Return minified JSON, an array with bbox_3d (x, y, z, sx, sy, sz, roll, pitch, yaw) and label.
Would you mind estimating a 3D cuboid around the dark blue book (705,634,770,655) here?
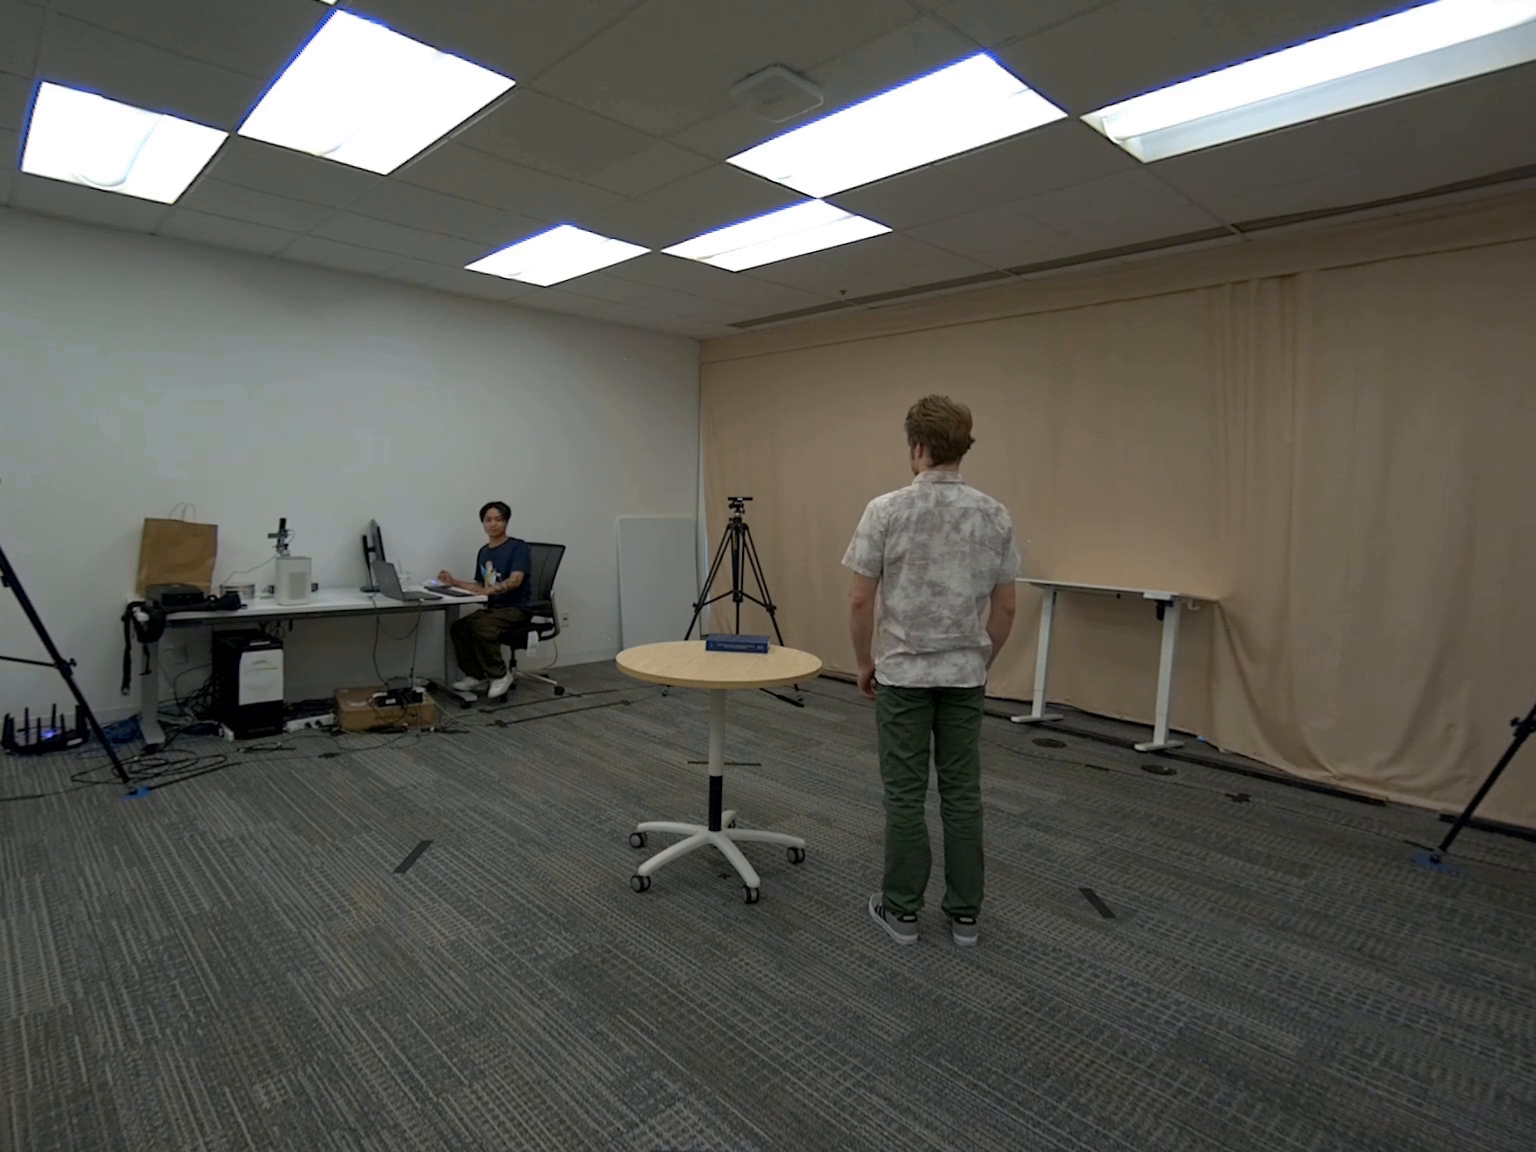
[{"bbox_3d":[-0.118,0.266,3.362,0.246,0.045,0.163,2,5,6],"label":"dark blue book"}]
